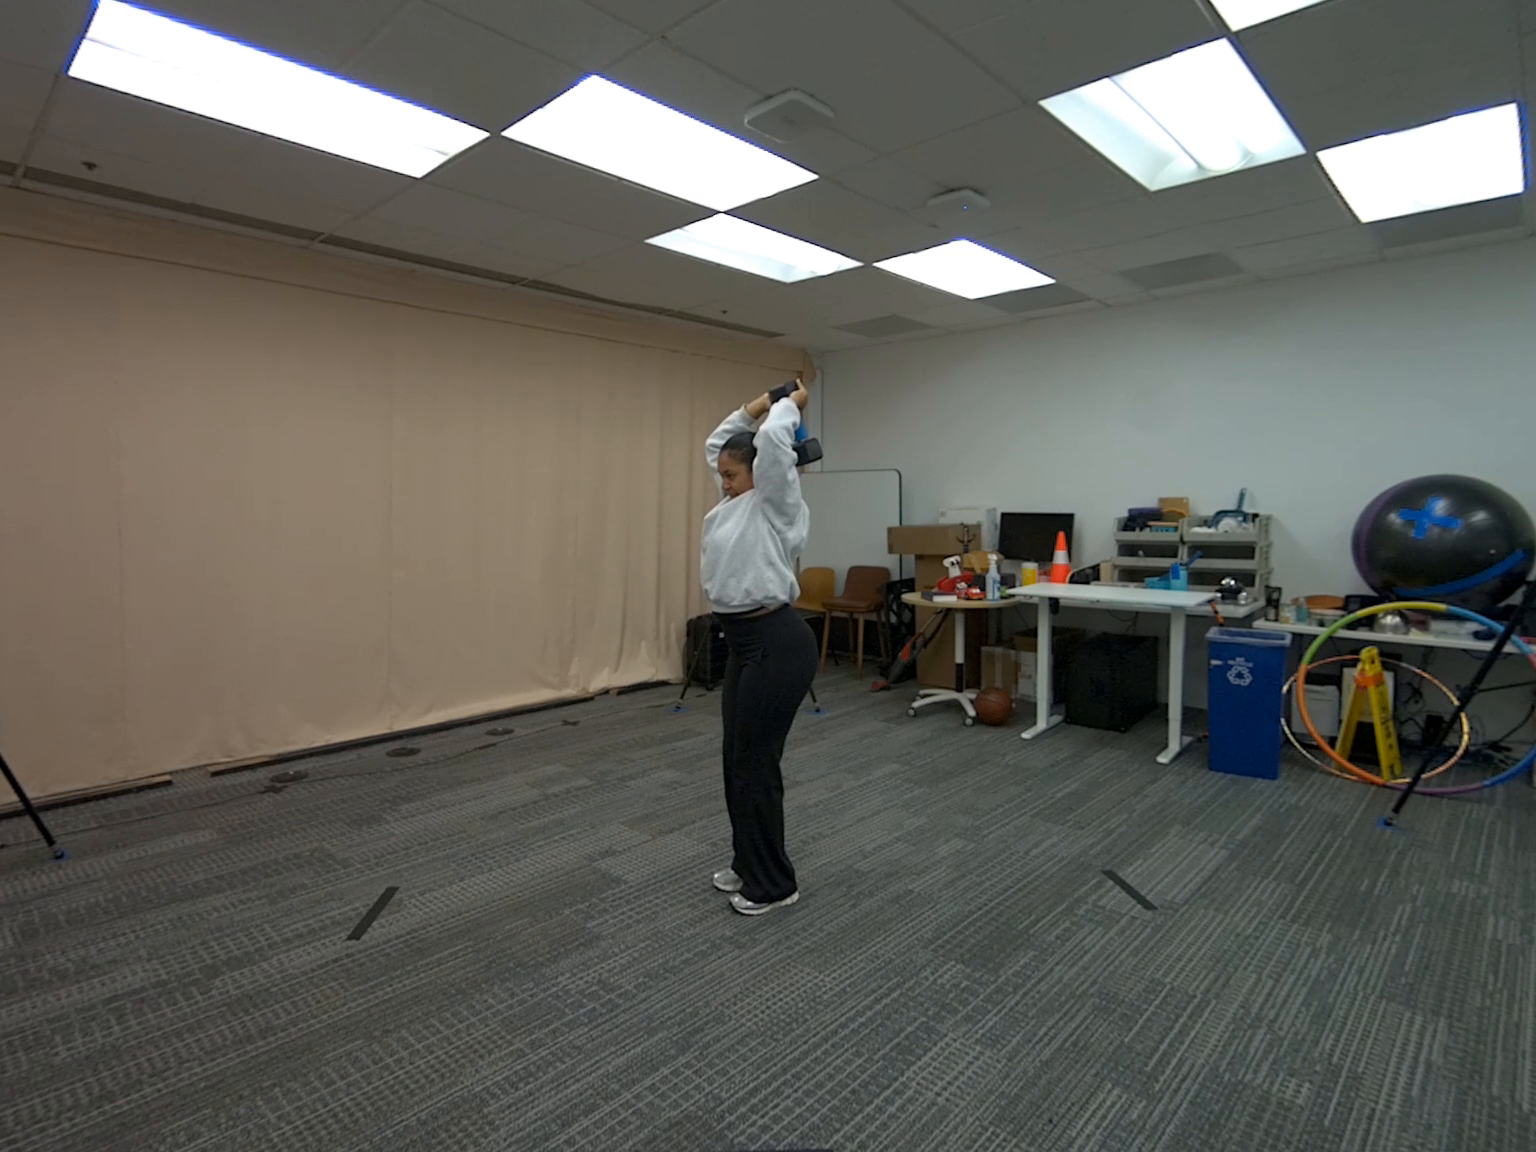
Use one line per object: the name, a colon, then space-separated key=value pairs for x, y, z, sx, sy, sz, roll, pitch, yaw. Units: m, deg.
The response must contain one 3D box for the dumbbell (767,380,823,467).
dumbbell: x=0.099 y=-0.537 z=2.963 sx=0.125 sy=0.292 sz=0.107 roll=-17 pitch=5 yaw=27
